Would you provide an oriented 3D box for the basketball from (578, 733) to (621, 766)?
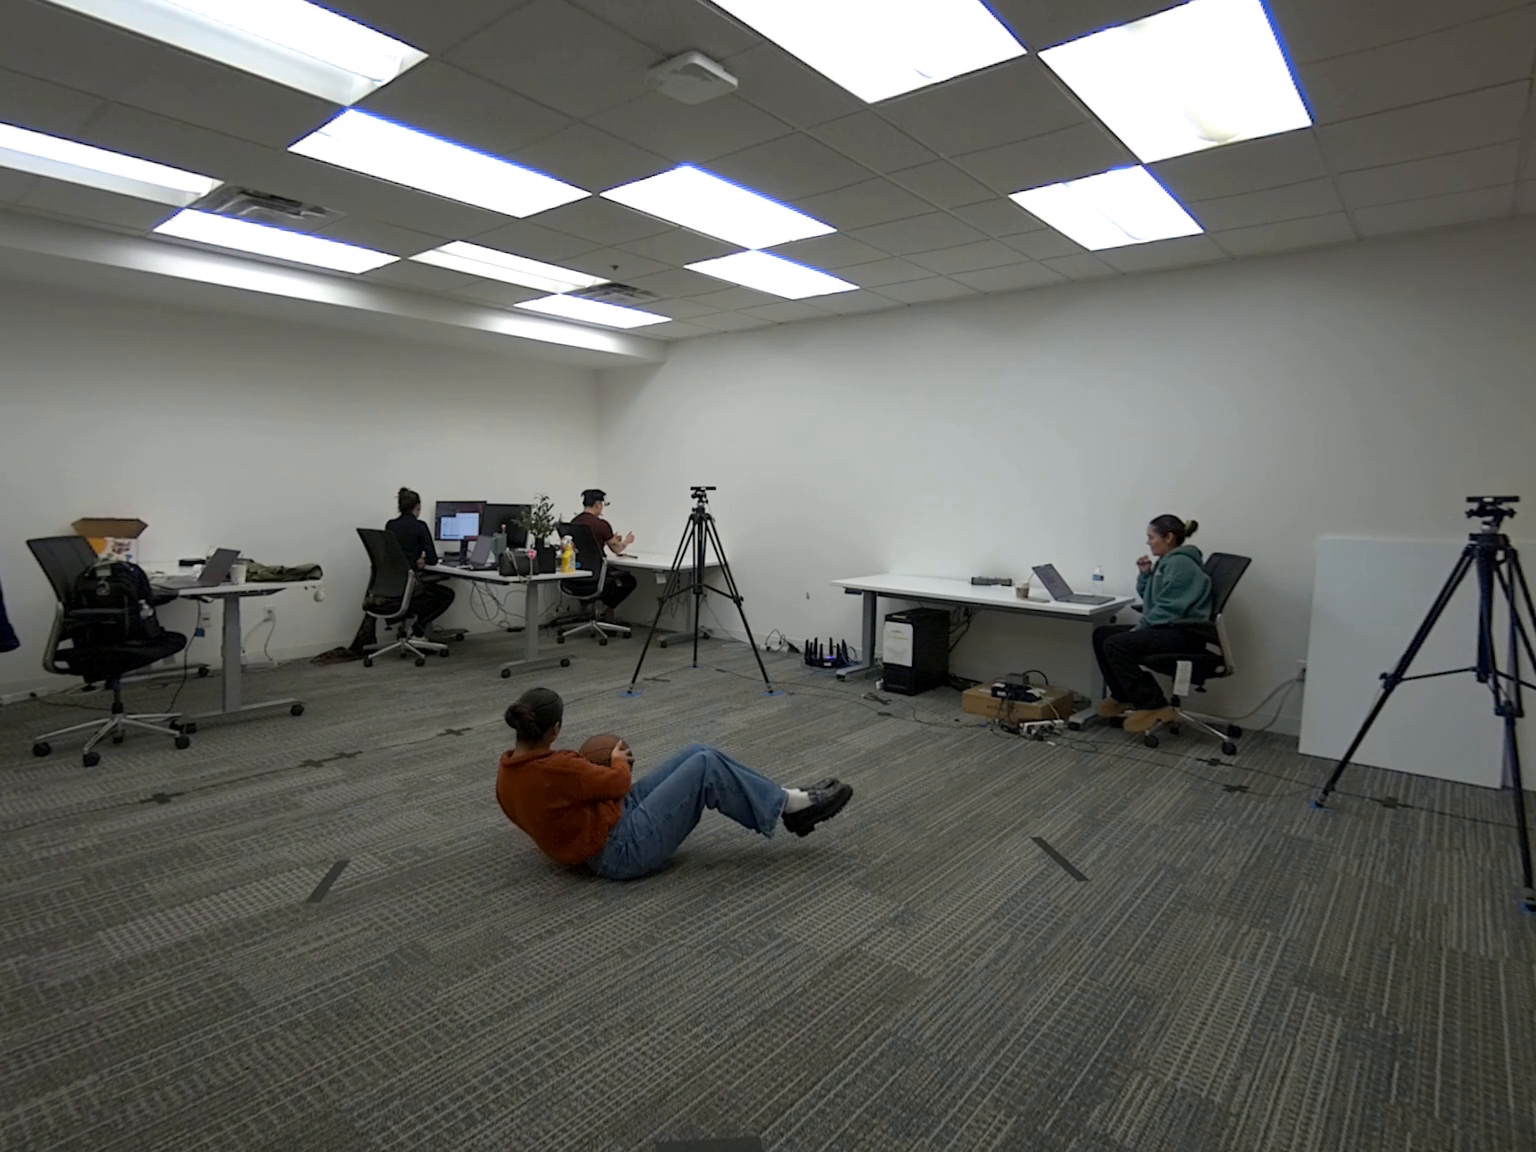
[{"bbox_3d":[-0.685,0.759,3.508,0.235,0.235,0.237,1,4,-2],"label":"basketball"}]
